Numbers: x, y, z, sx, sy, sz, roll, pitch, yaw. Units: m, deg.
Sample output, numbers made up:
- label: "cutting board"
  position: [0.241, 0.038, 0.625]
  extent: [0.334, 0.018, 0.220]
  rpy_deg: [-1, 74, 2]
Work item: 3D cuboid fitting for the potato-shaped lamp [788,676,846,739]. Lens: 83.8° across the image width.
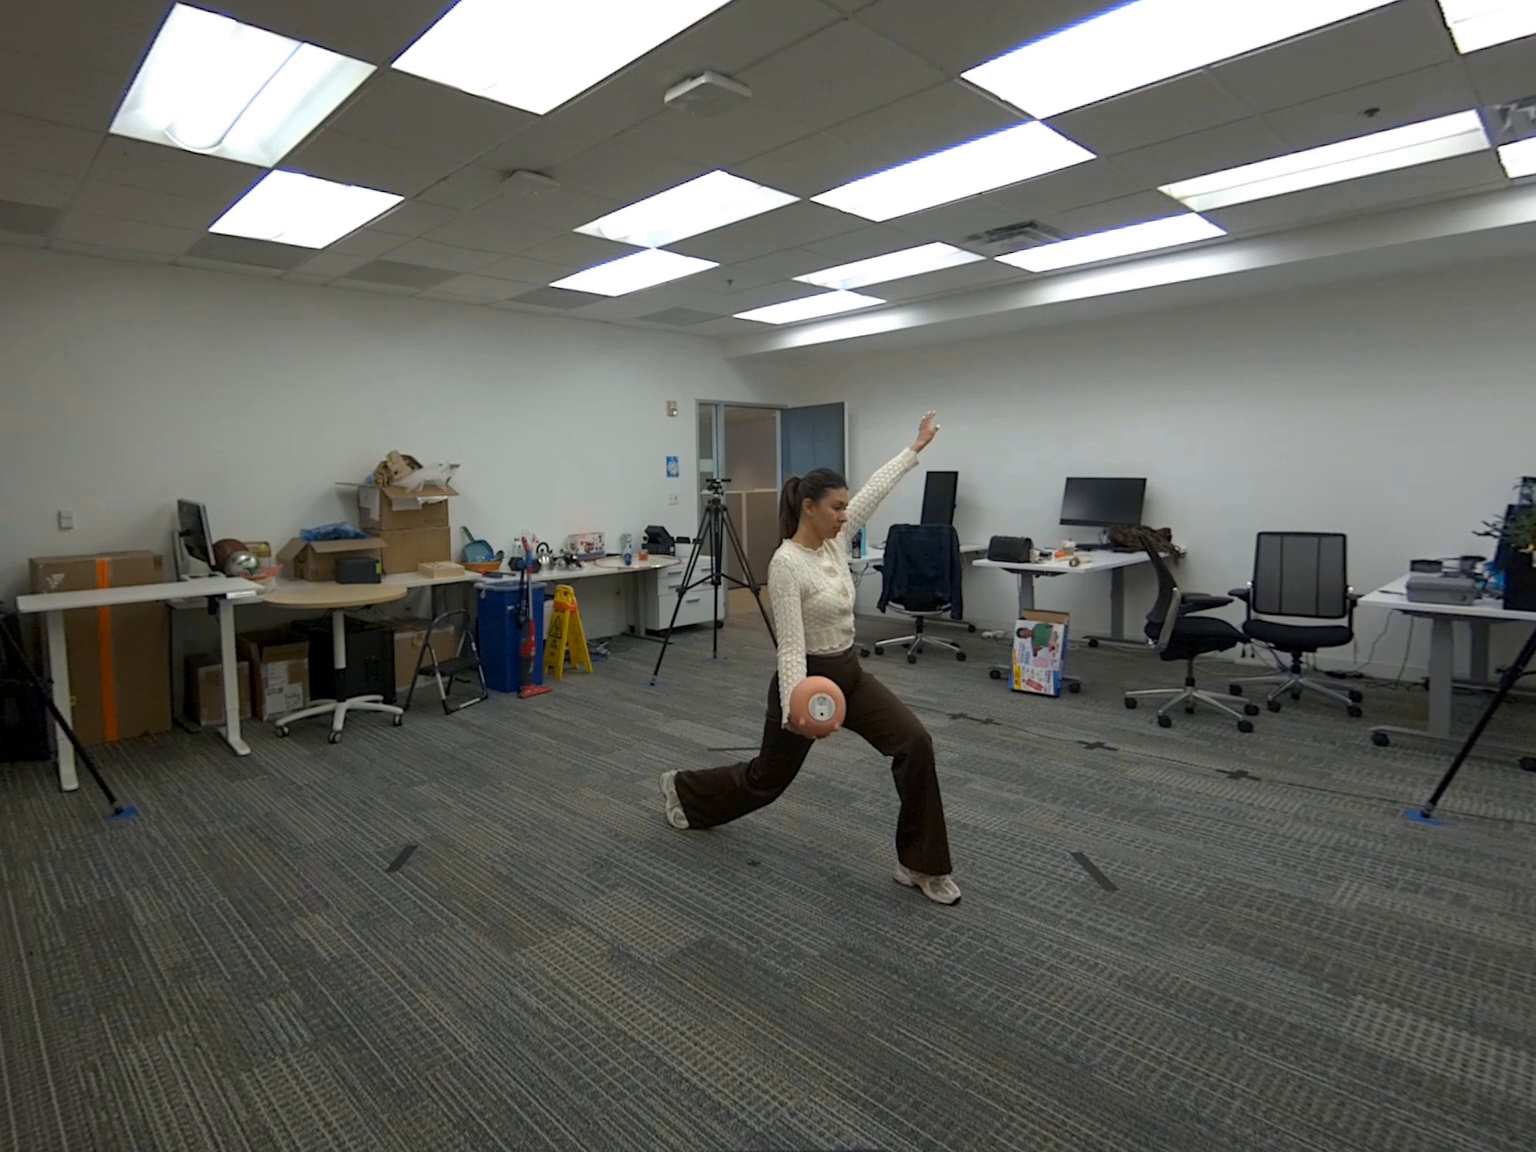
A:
- label: "potato-shaped lamp"
  position: [0.131, 0.391, 2.554]
  extent: [0.163, 0.173, 0.197]
  rpy_deg: [14, -14, -7]
